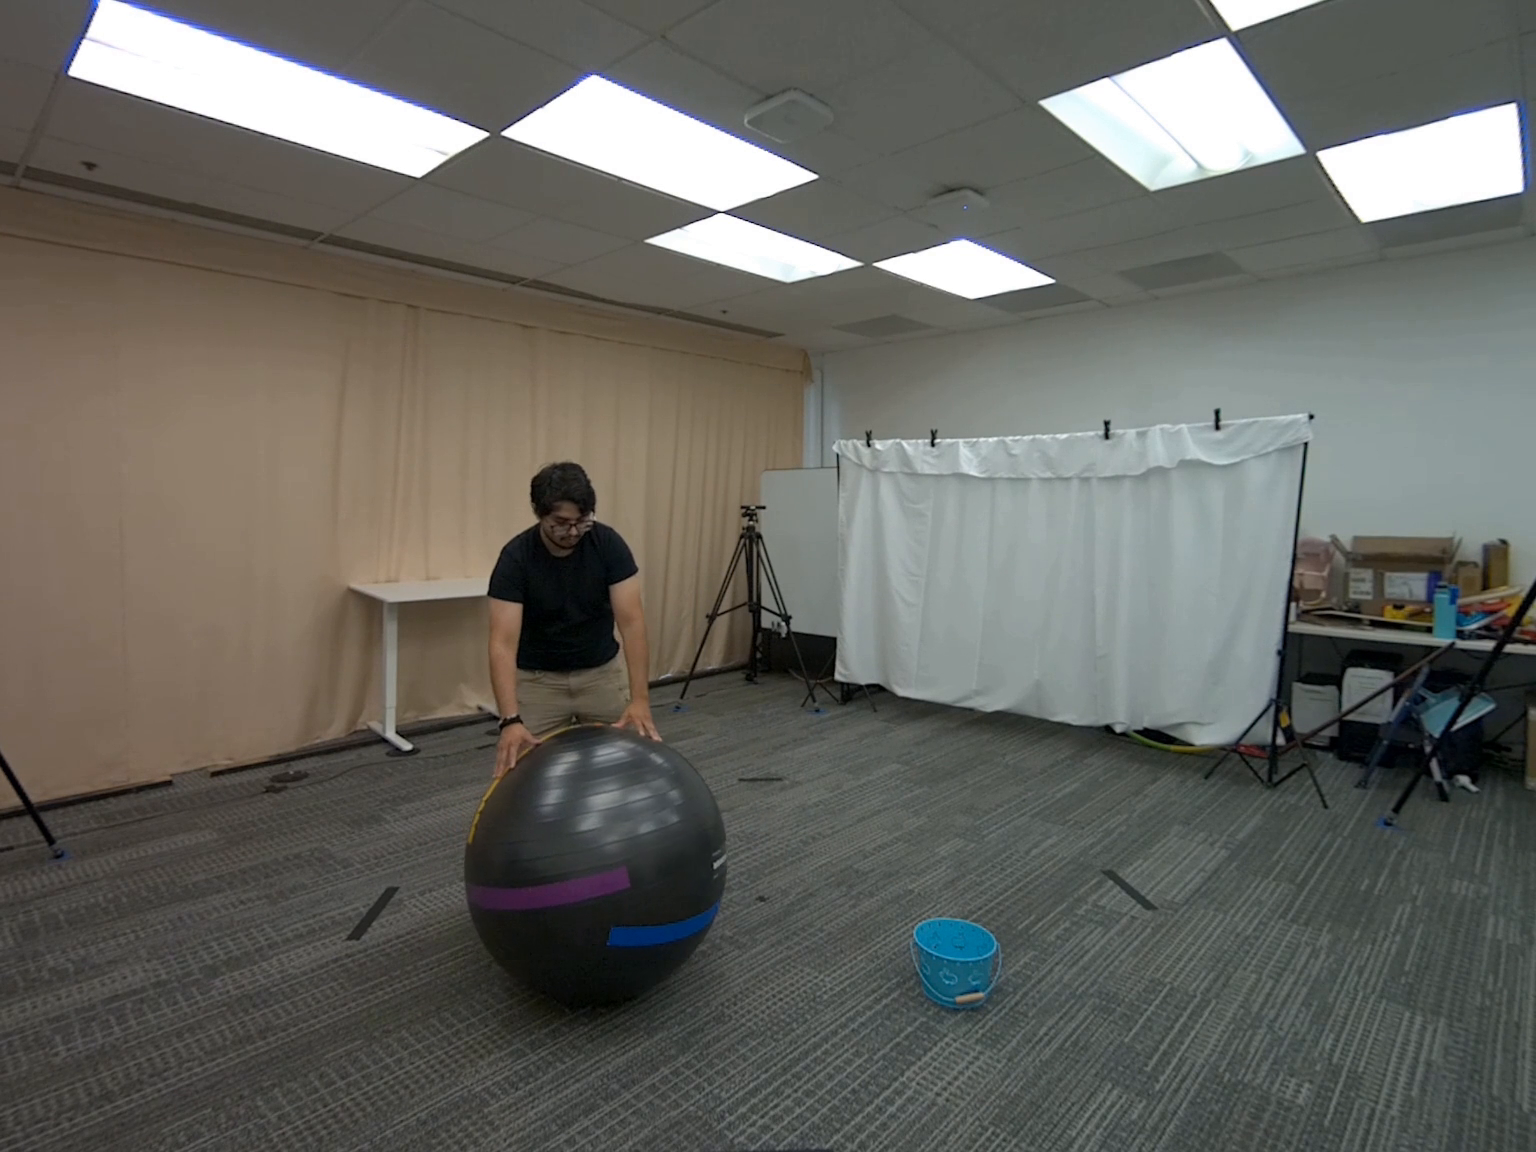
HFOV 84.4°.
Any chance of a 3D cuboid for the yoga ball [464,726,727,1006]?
[{"bbox_3d":[-0.493,0.832,2.446,0.757,0.756,0.760,0,4,-2],"label":"yoga ball"}]
